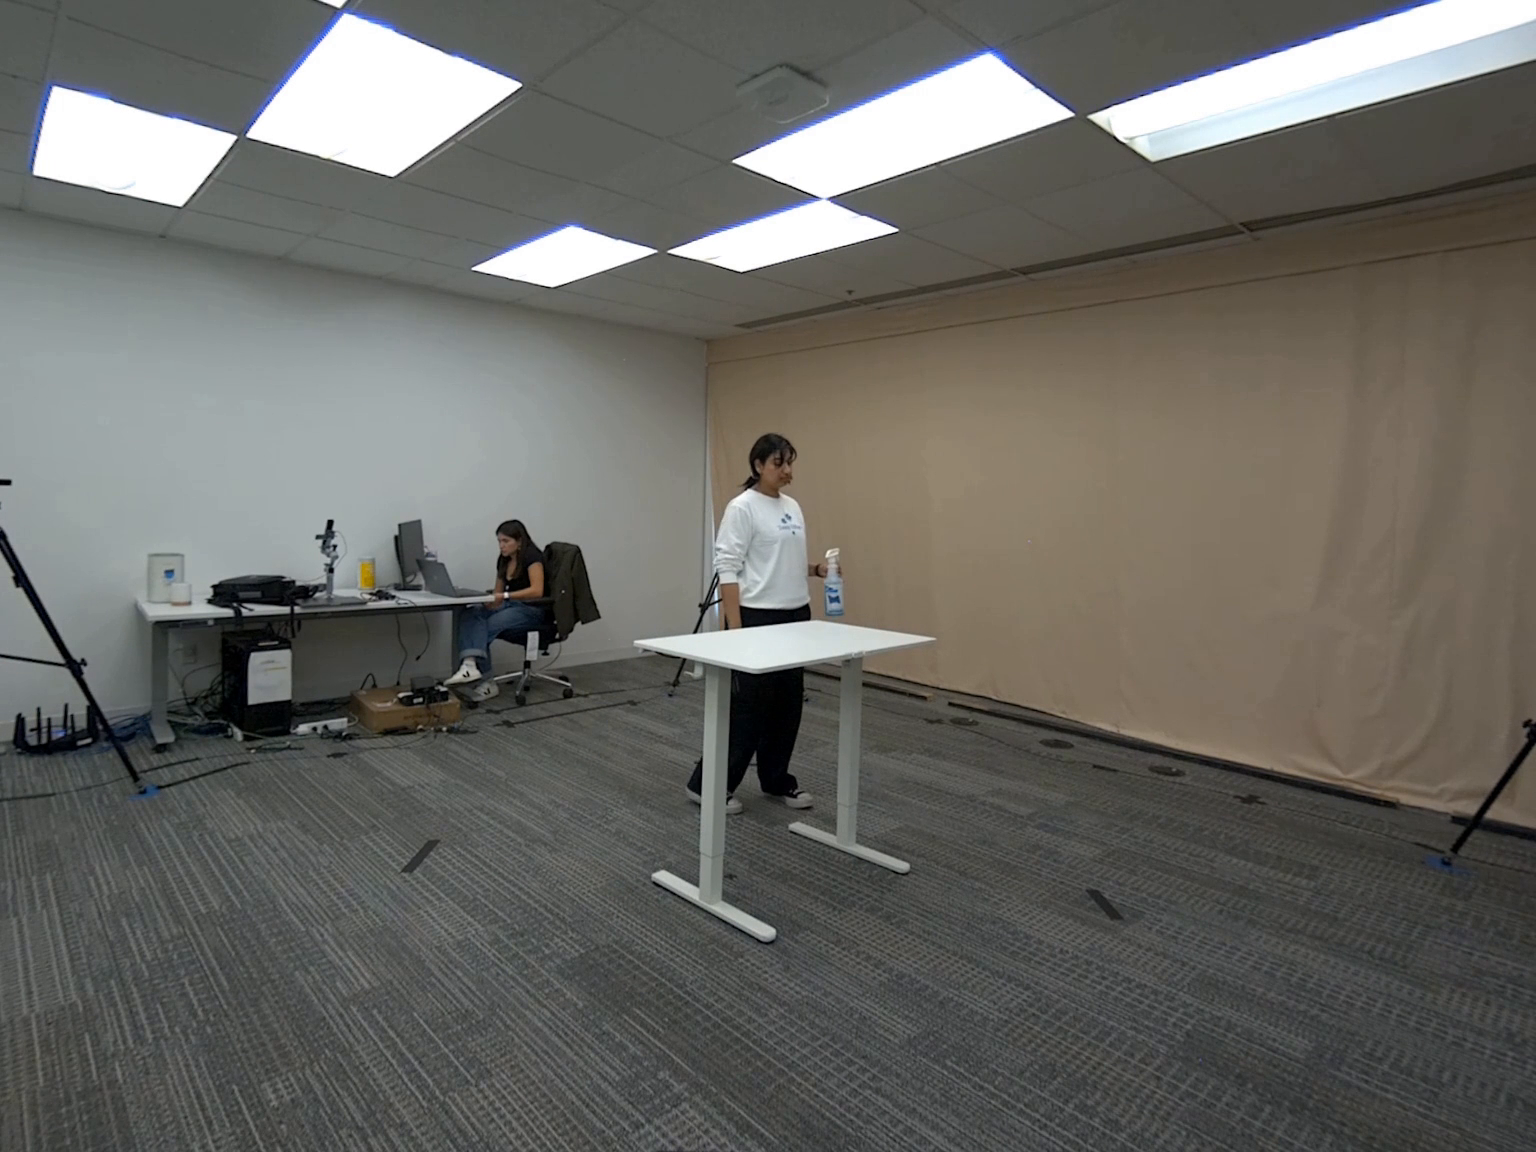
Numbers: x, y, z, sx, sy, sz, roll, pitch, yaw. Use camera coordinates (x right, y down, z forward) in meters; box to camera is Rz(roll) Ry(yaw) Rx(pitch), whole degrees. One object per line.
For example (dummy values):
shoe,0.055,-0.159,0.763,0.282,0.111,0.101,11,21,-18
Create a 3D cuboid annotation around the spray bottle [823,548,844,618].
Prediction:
spray bottle,0.278,0.027,3.774,0.089,0.296,0.089,-6,7,-20
